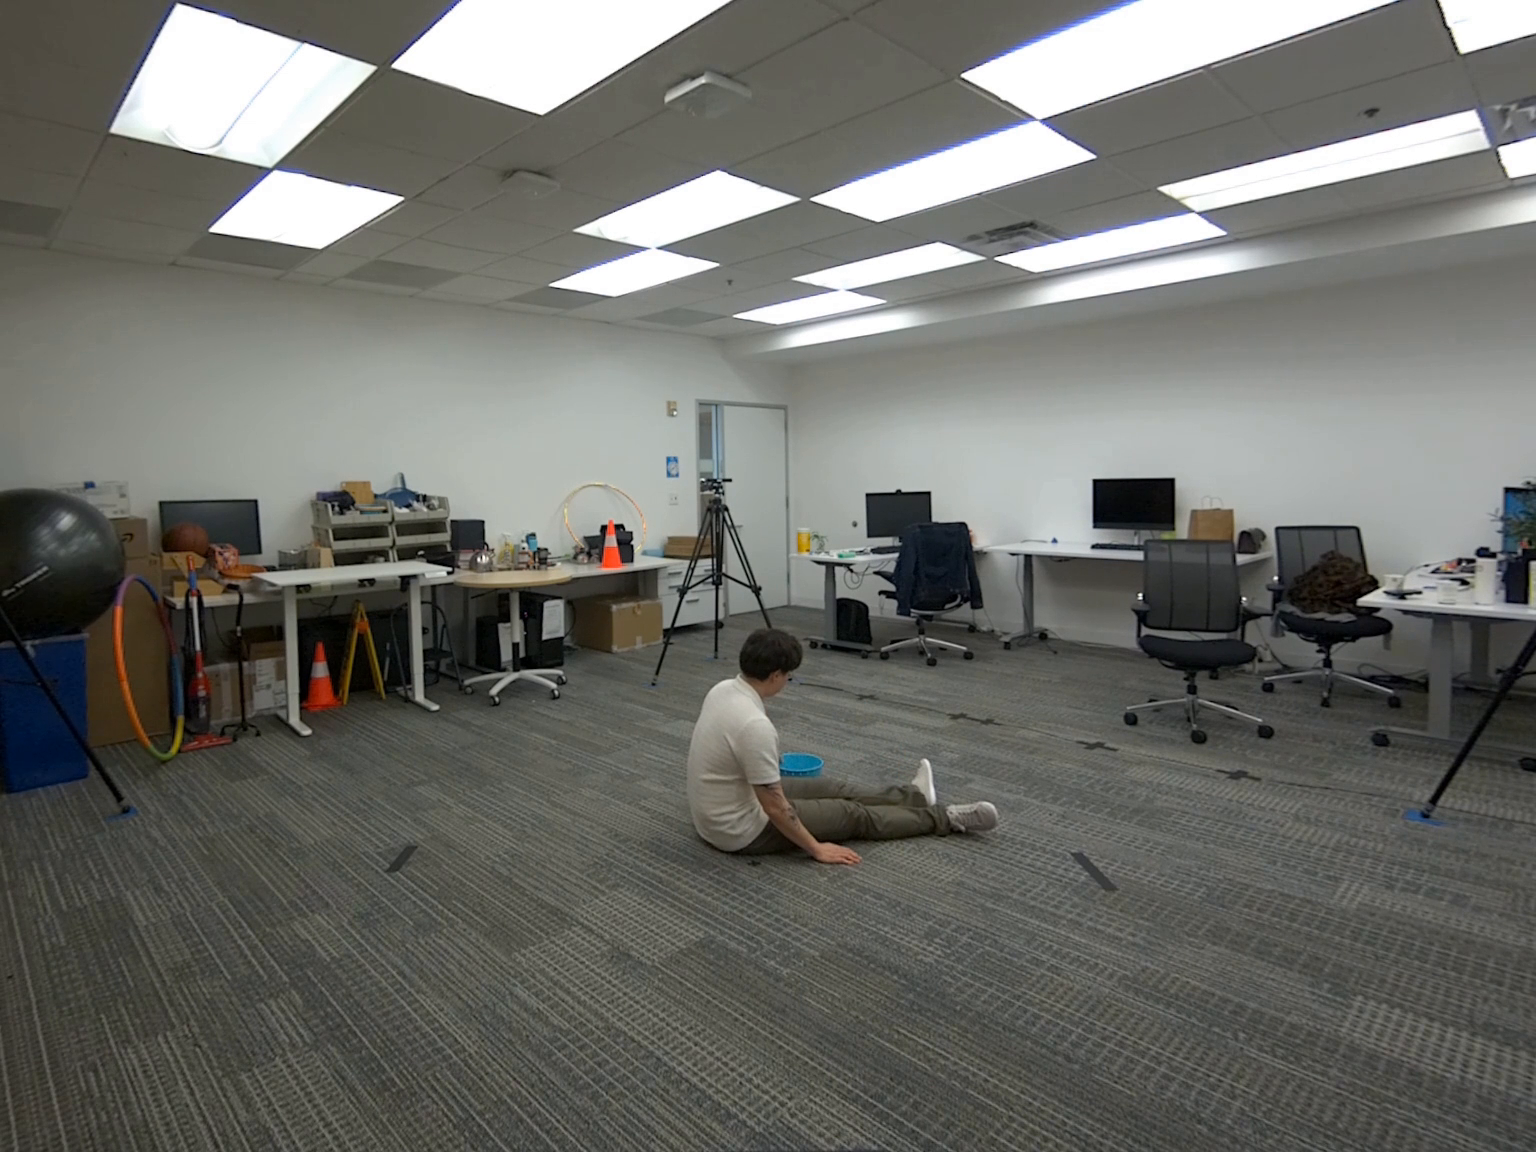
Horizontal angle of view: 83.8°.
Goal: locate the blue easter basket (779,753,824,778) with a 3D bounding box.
[{"bbox_3d":[0.138,0.891,3.767,0.243,0.155,0.245,0,5,-2],"label":"blue easter basket"}]
